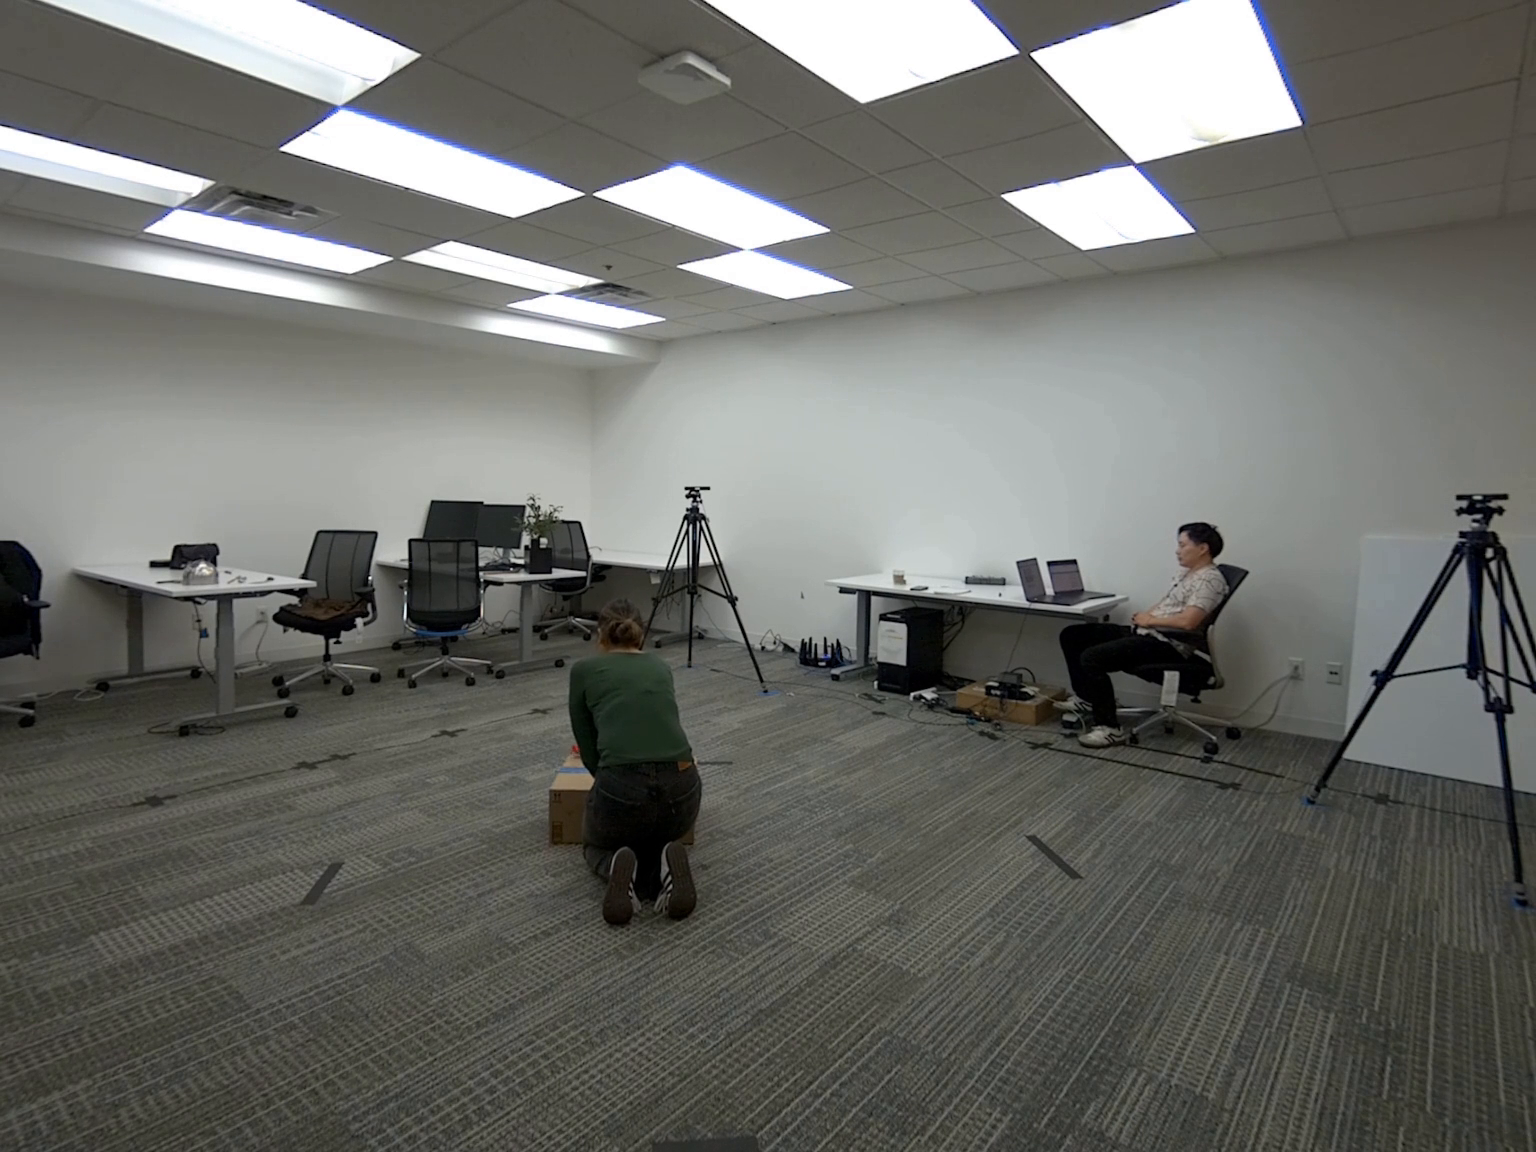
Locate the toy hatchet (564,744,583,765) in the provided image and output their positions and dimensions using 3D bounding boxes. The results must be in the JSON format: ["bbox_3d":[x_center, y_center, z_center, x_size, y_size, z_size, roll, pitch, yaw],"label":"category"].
[{"bbox_3d":[-0.717,0.735,3.655,0.272,0.030,0.127,5,-30,5],"label":"toy hatchet"}]
